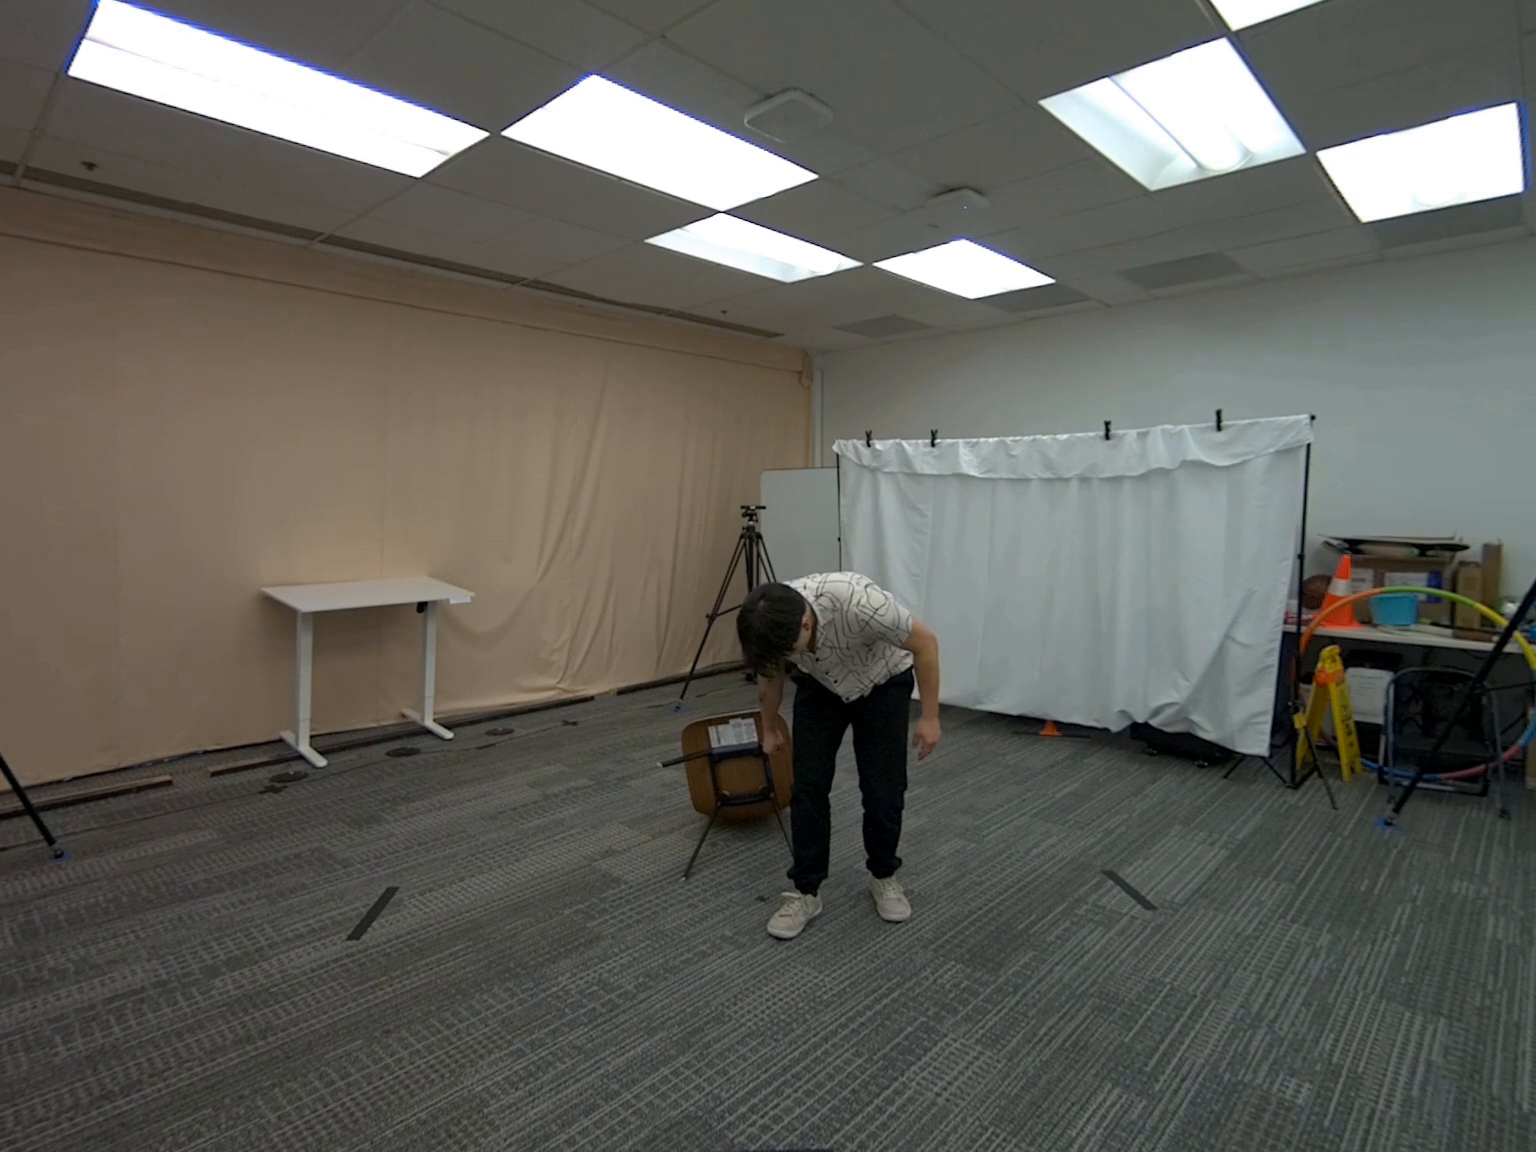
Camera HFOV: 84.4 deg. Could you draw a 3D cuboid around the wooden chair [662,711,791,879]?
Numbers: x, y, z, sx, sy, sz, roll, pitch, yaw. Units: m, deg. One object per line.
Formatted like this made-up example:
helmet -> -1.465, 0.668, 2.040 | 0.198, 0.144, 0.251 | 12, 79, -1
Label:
wooden chair -> -0.118, 0.828, 3.496 | 0.481, 0.524, 0.870 | -11, -1, 5
